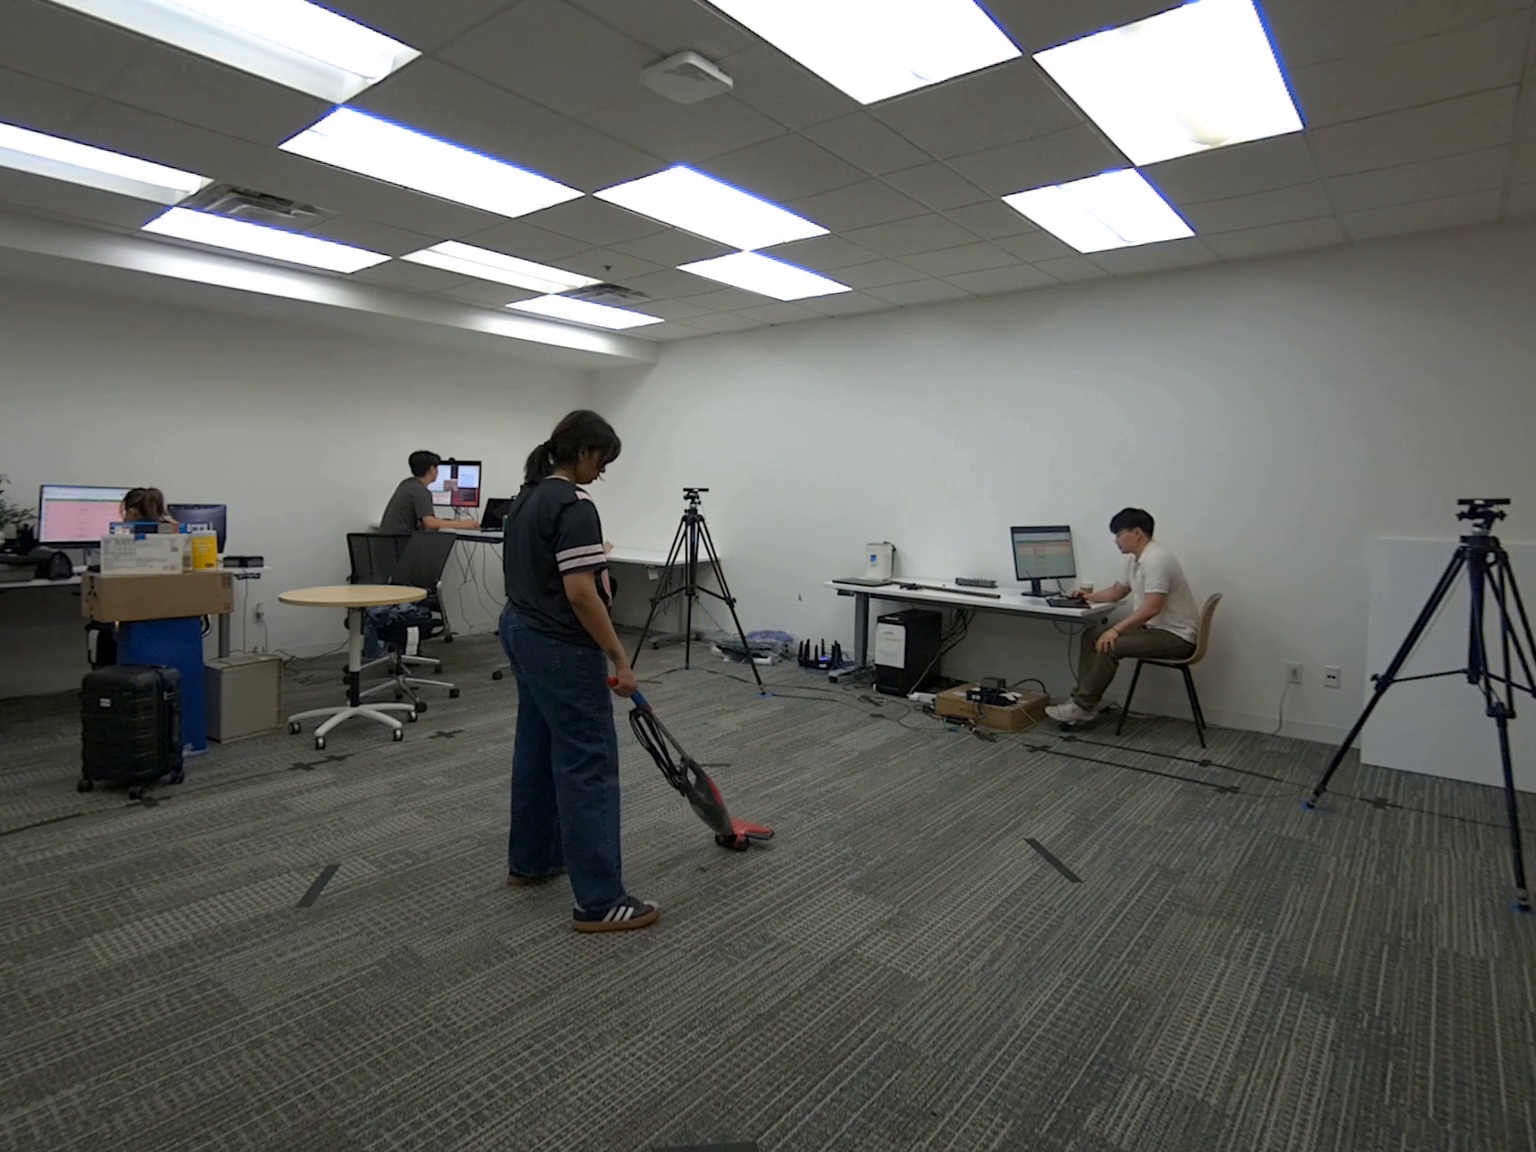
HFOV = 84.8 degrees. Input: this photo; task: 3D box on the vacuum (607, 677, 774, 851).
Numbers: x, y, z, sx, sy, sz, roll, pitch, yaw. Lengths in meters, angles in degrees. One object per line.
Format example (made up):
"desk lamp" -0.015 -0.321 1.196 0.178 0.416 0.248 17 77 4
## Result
"vacuum" -0.310 0.684 3.042 0.260 0.145 1.009 0 -43 32
